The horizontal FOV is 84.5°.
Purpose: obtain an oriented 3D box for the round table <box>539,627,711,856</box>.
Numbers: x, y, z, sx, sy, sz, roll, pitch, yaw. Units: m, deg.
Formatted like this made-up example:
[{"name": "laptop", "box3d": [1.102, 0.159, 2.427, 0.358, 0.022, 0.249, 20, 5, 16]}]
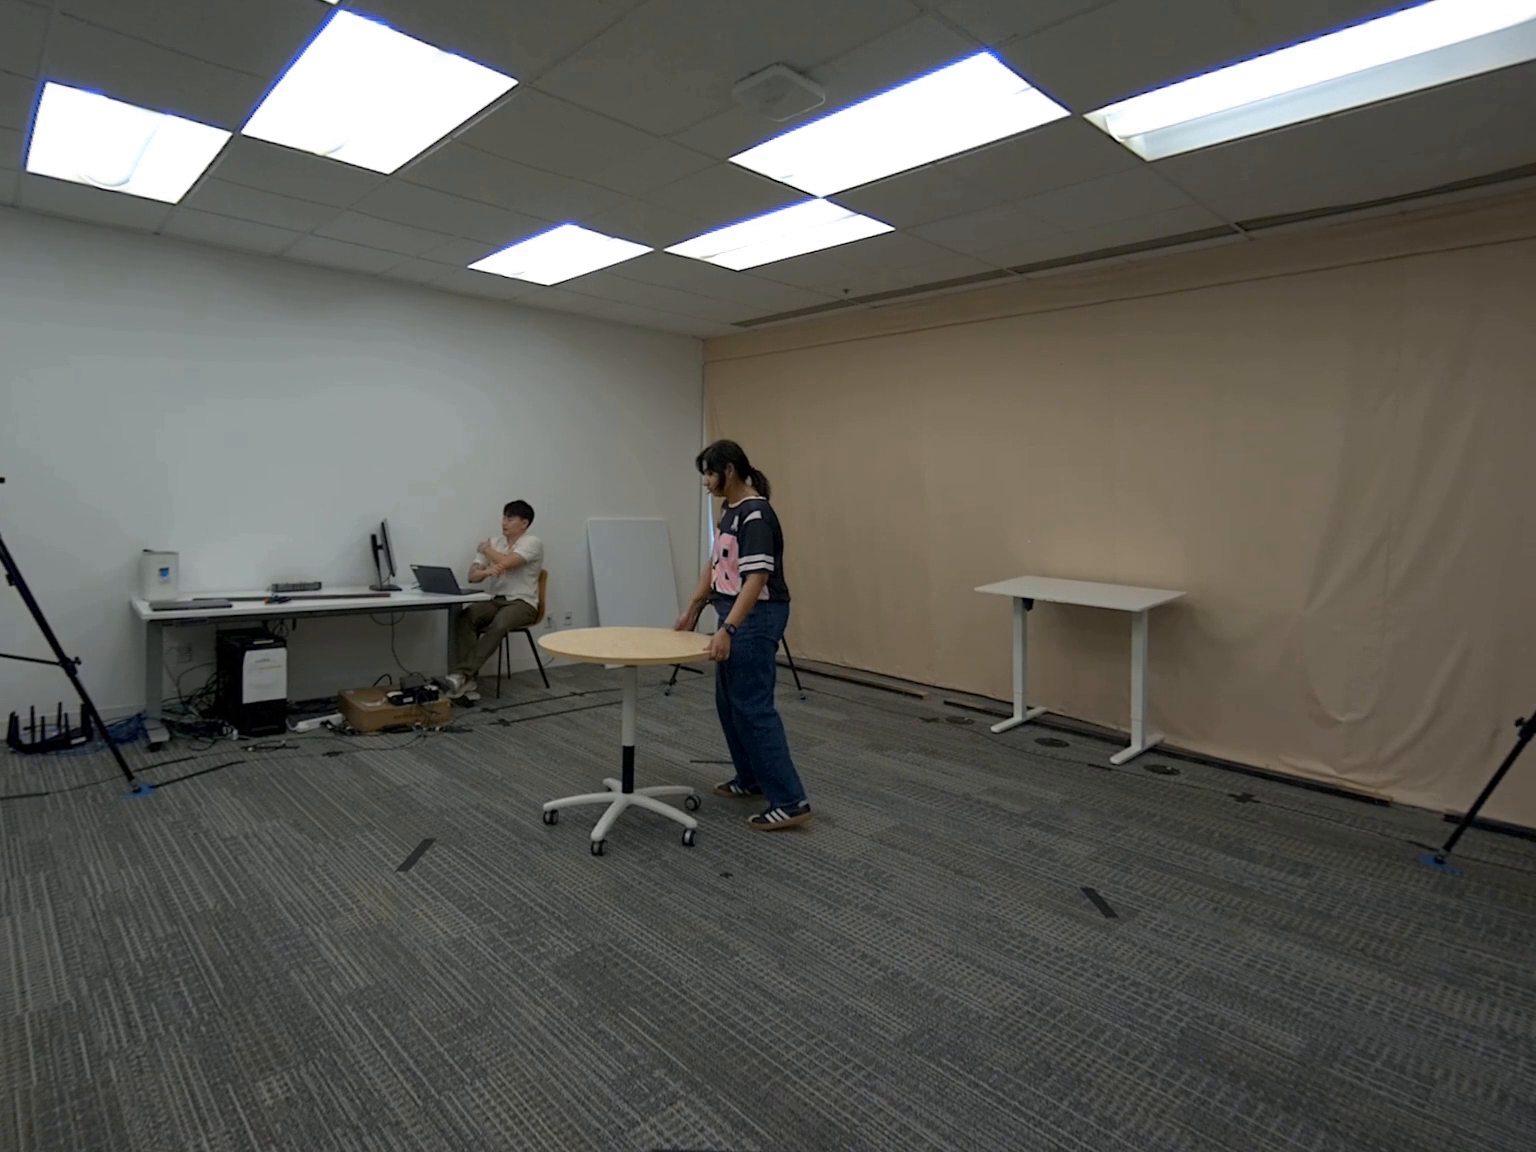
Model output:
[{"name": "round table", "box3d": [-0.604, 0.661, 3.539, 0.784, 0.784, 0.788, 2, 4, -2]}]
